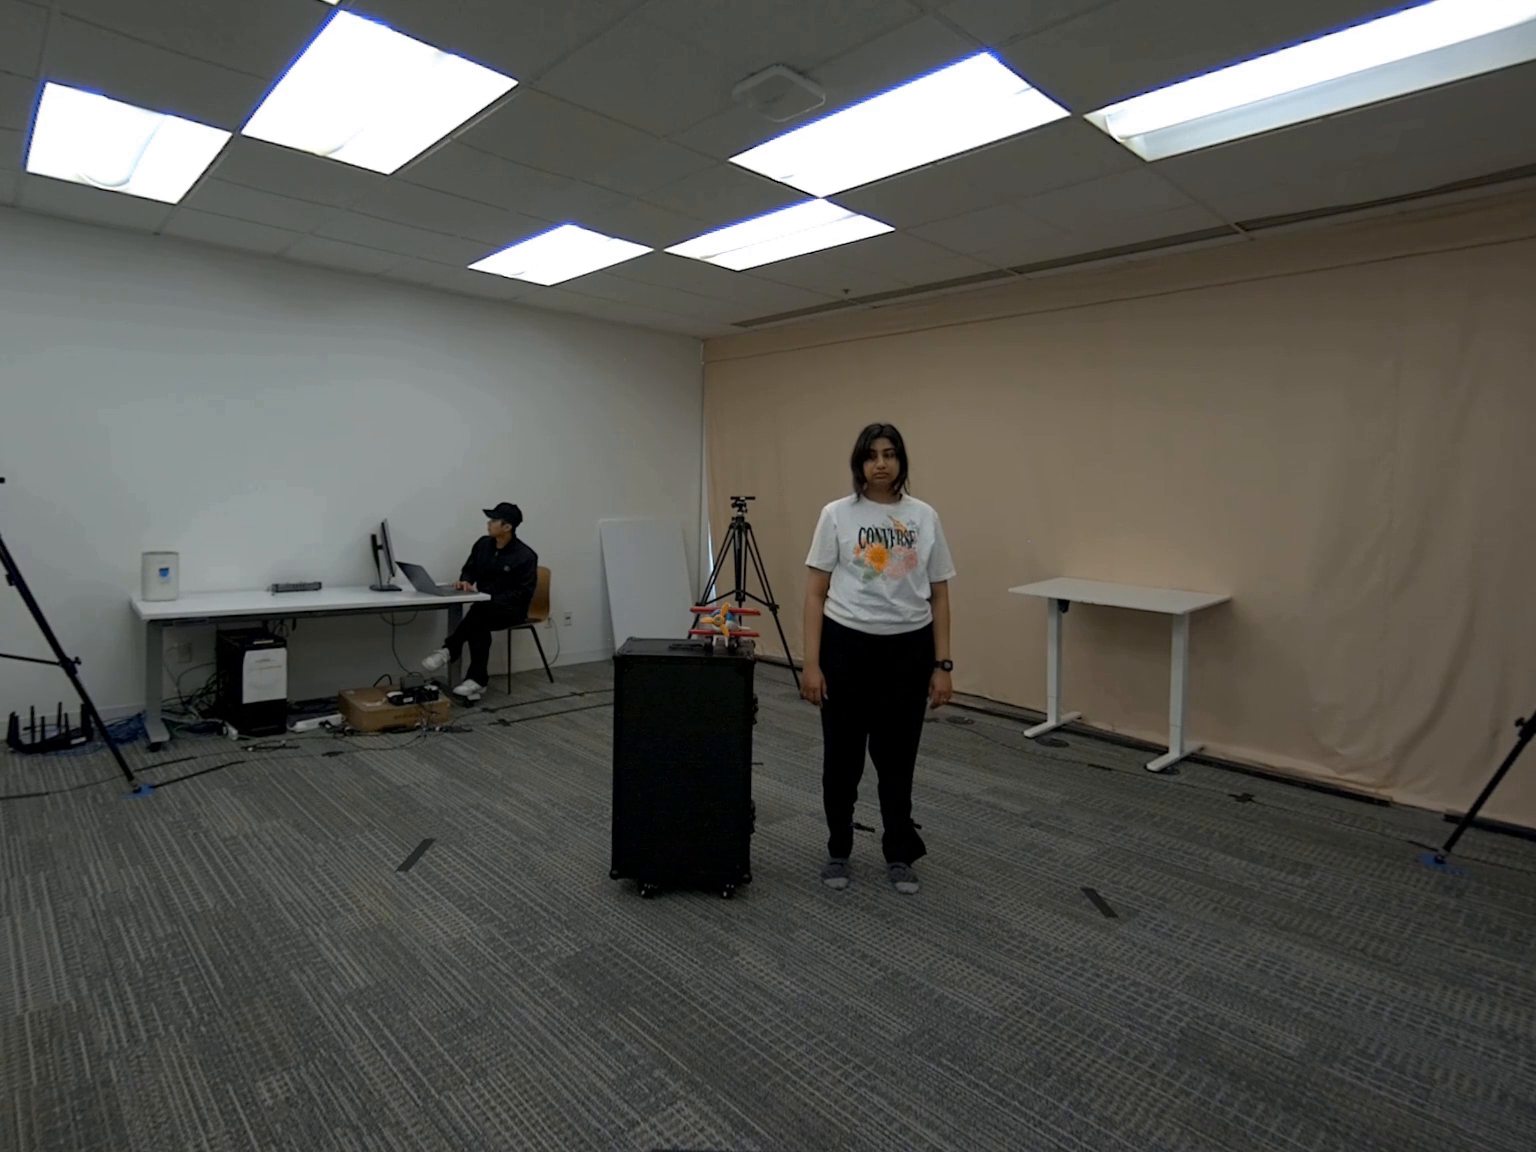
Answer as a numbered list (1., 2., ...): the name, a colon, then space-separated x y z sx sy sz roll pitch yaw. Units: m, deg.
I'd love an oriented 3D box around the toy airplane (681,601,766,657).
1. toy airplane: -0.167 0.182 3.028 0.248 0.156 0.262 -1 4 -14
